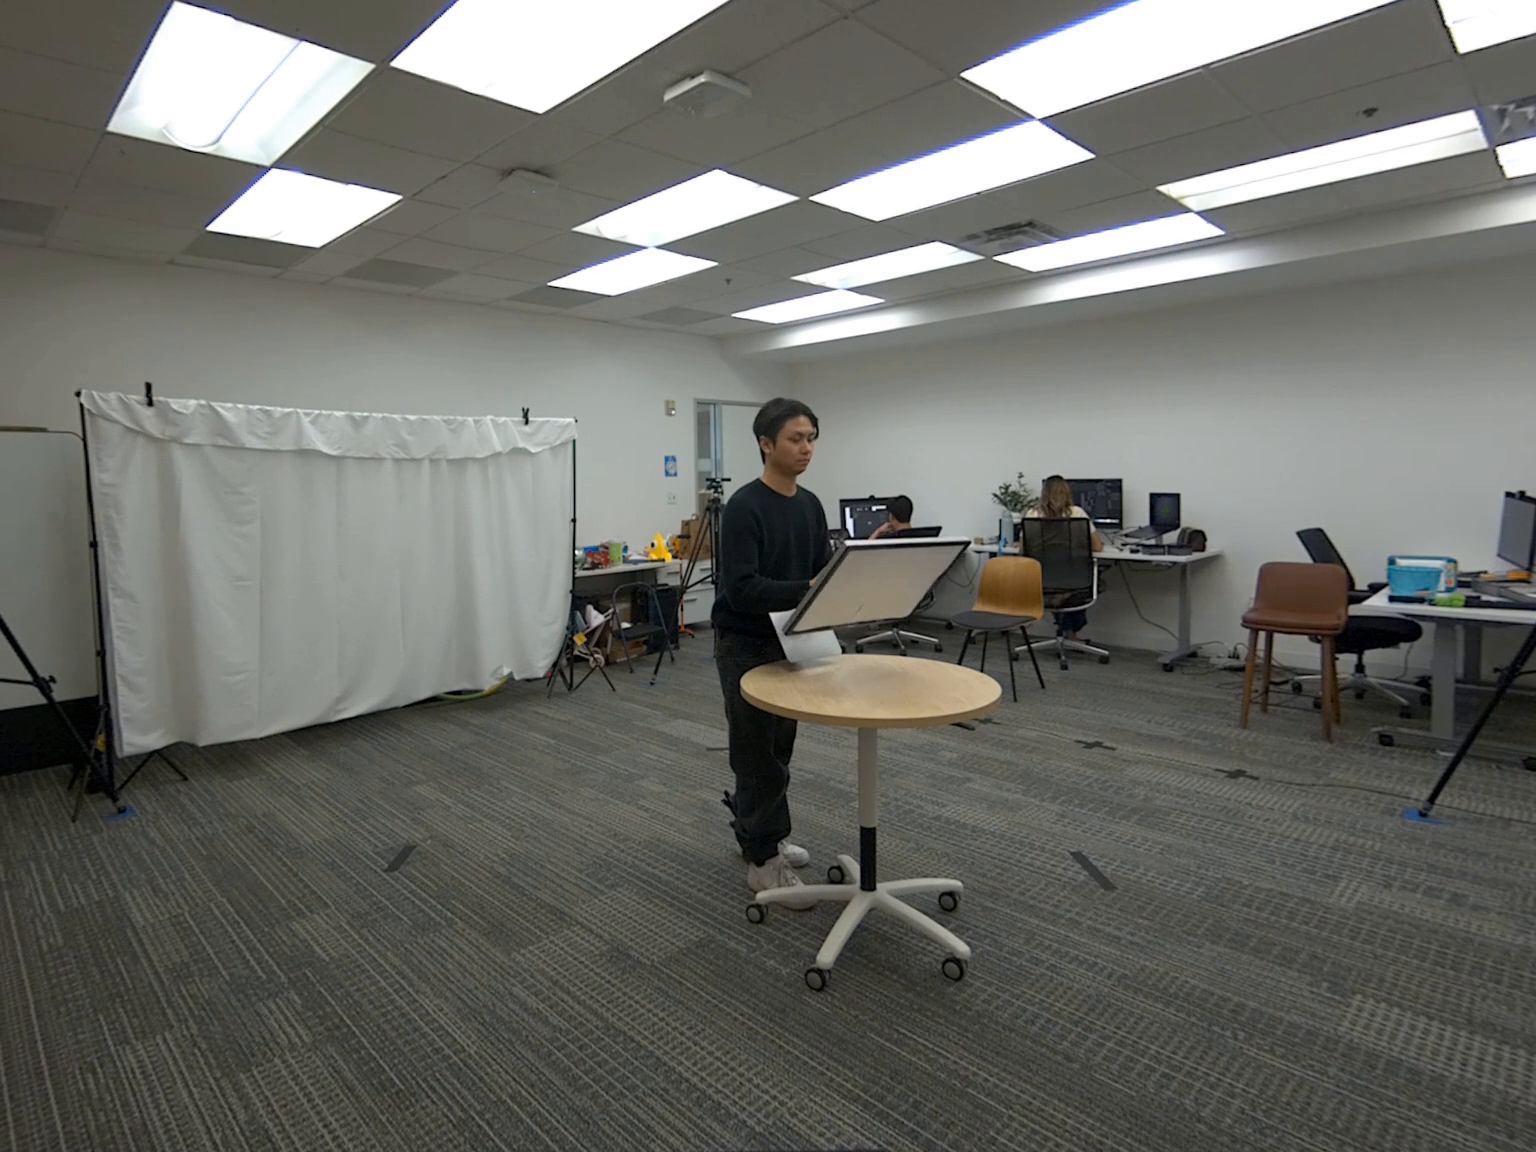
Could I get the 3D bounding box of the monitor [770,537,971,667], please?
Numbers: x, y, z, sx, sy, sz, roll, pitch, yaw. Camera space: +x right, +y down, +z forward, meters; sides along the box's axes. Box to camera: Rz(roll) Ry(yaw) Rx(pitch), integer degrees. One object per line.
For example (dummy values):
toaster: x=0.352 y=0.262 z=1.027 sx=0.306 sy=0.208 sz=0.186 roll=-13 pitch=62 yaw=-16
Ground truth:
monitor: x=0.272 y=0.052 z=2.606 sx=0.524 sy=0.192 sz=0.522 roll=-5 pitch=-30 yaw=-42
